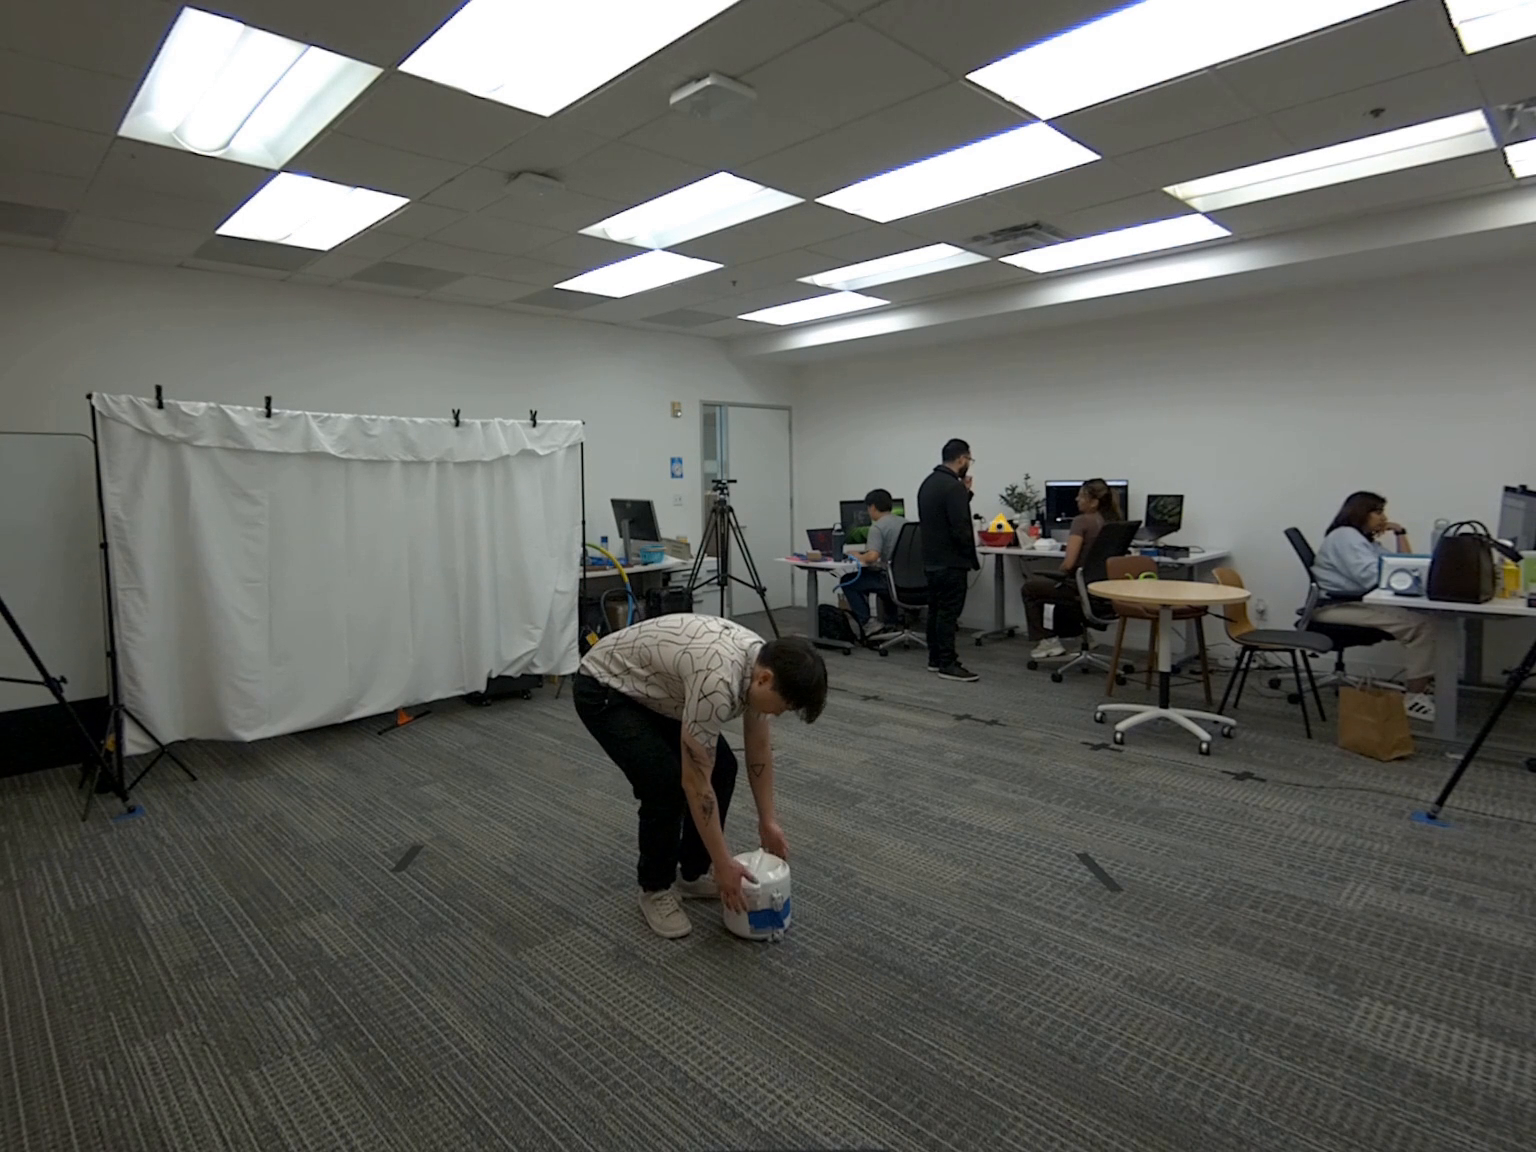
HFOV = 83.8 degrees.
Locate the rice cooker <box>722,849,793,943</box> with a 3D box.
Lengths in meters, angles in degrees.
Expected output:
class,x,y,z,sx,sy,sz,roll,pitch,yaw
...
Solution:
class,x,y,z,sx,sy,sz,roll,pitch,yaw
rice cooker,-0.040,0.977,2.666,0.220,0.232,0.219,3,6,11
